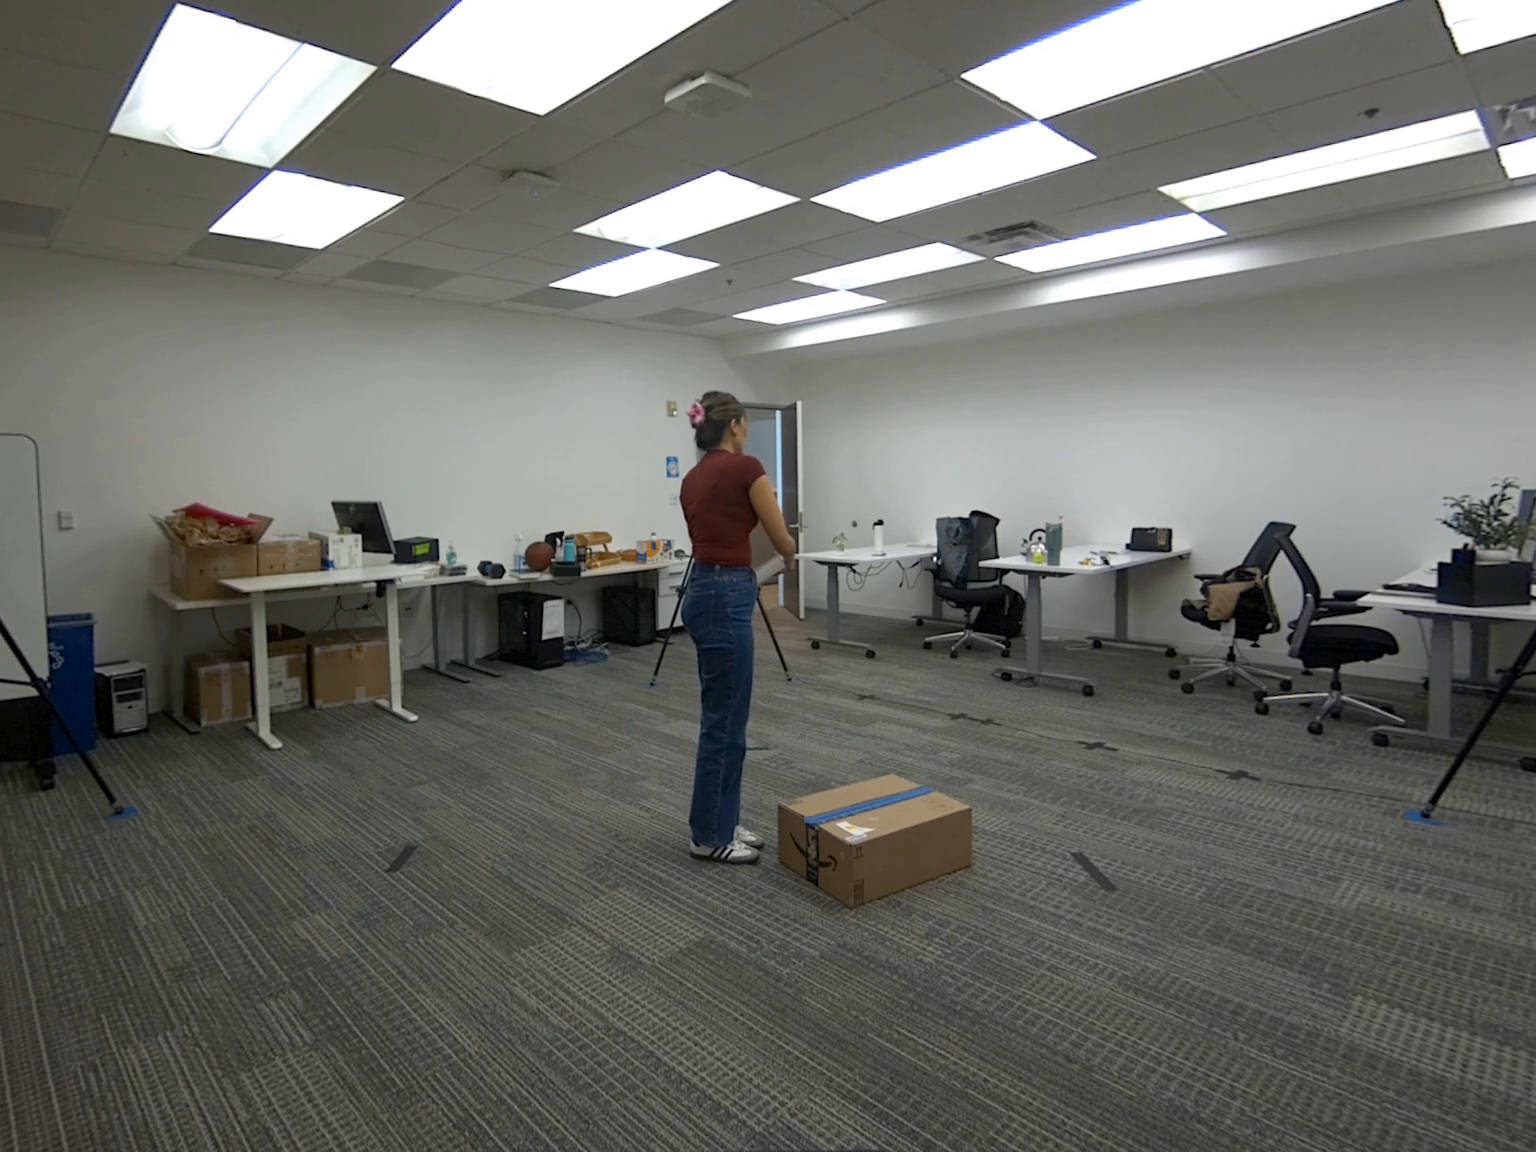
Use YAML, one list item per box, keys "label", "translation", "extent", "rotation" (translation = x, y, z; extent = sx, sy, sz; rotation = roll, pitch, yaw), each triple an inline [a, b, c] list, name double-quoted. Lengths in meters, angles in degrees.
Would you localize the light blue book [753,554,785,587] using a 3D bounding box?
- label: "light blue book"
  translation: [-0.008, -0.021, 3.563]
  extent: [0.191, 0.059, 0.260]
  rotation: [-32, 1, 0]
